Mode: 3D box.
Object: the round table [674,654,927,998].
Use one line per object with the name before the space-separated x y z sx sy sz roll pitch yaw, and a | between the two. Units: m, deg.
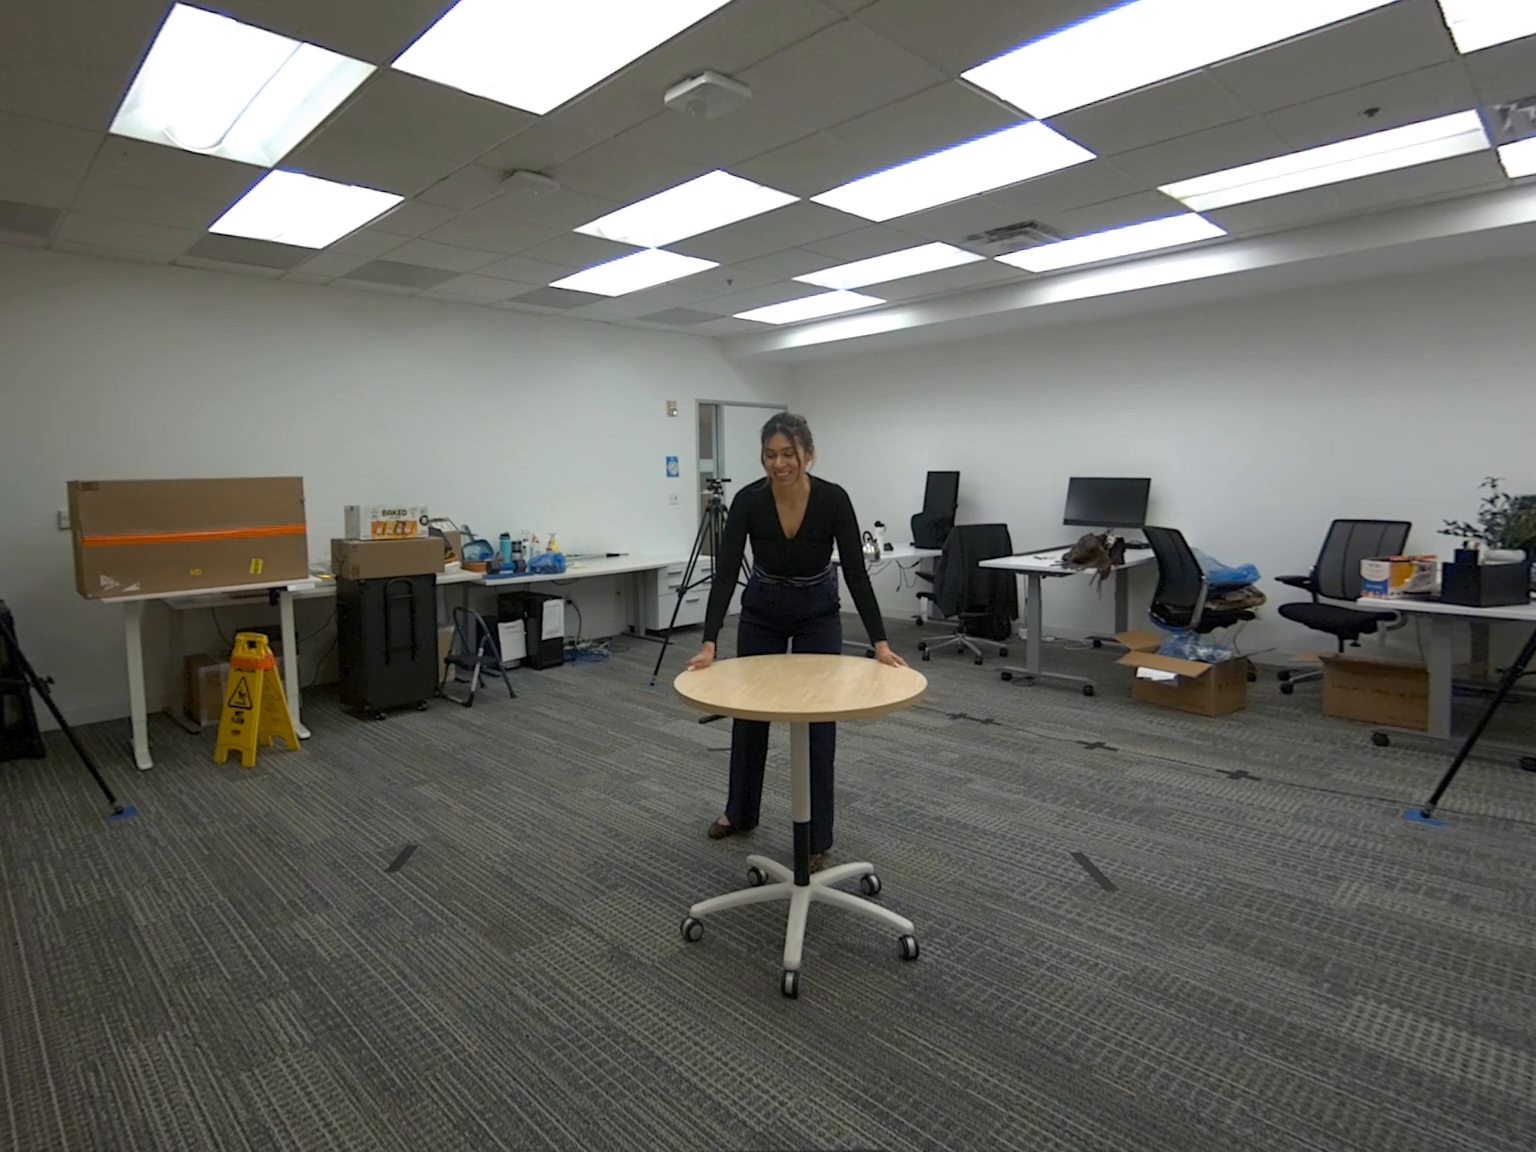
round table | 0.102 0.711 2.637 0.763 0.791 0.768 -1 5 -2
